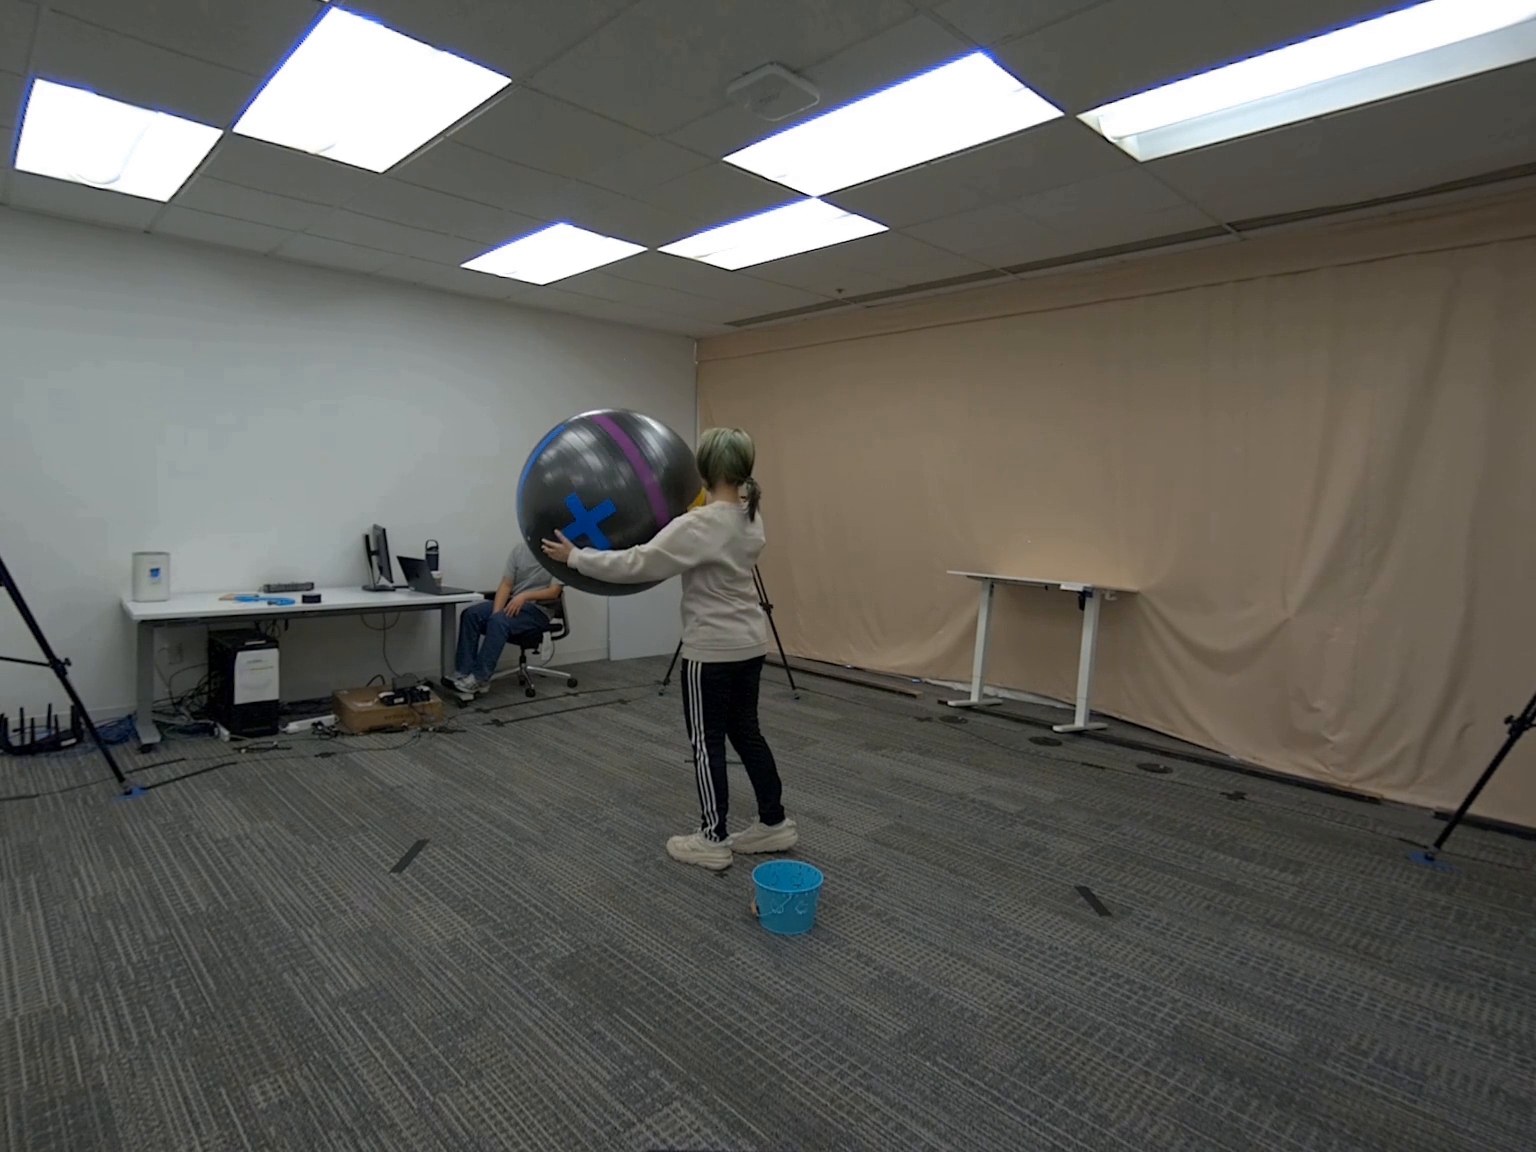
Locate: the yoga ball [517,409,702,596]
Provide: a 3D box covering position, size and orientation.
[{"bbox_3d":[-0.635,-0.290,3.408,0.757,0.756,0.761,1,4,-1],"label":"yoga ball"}]
